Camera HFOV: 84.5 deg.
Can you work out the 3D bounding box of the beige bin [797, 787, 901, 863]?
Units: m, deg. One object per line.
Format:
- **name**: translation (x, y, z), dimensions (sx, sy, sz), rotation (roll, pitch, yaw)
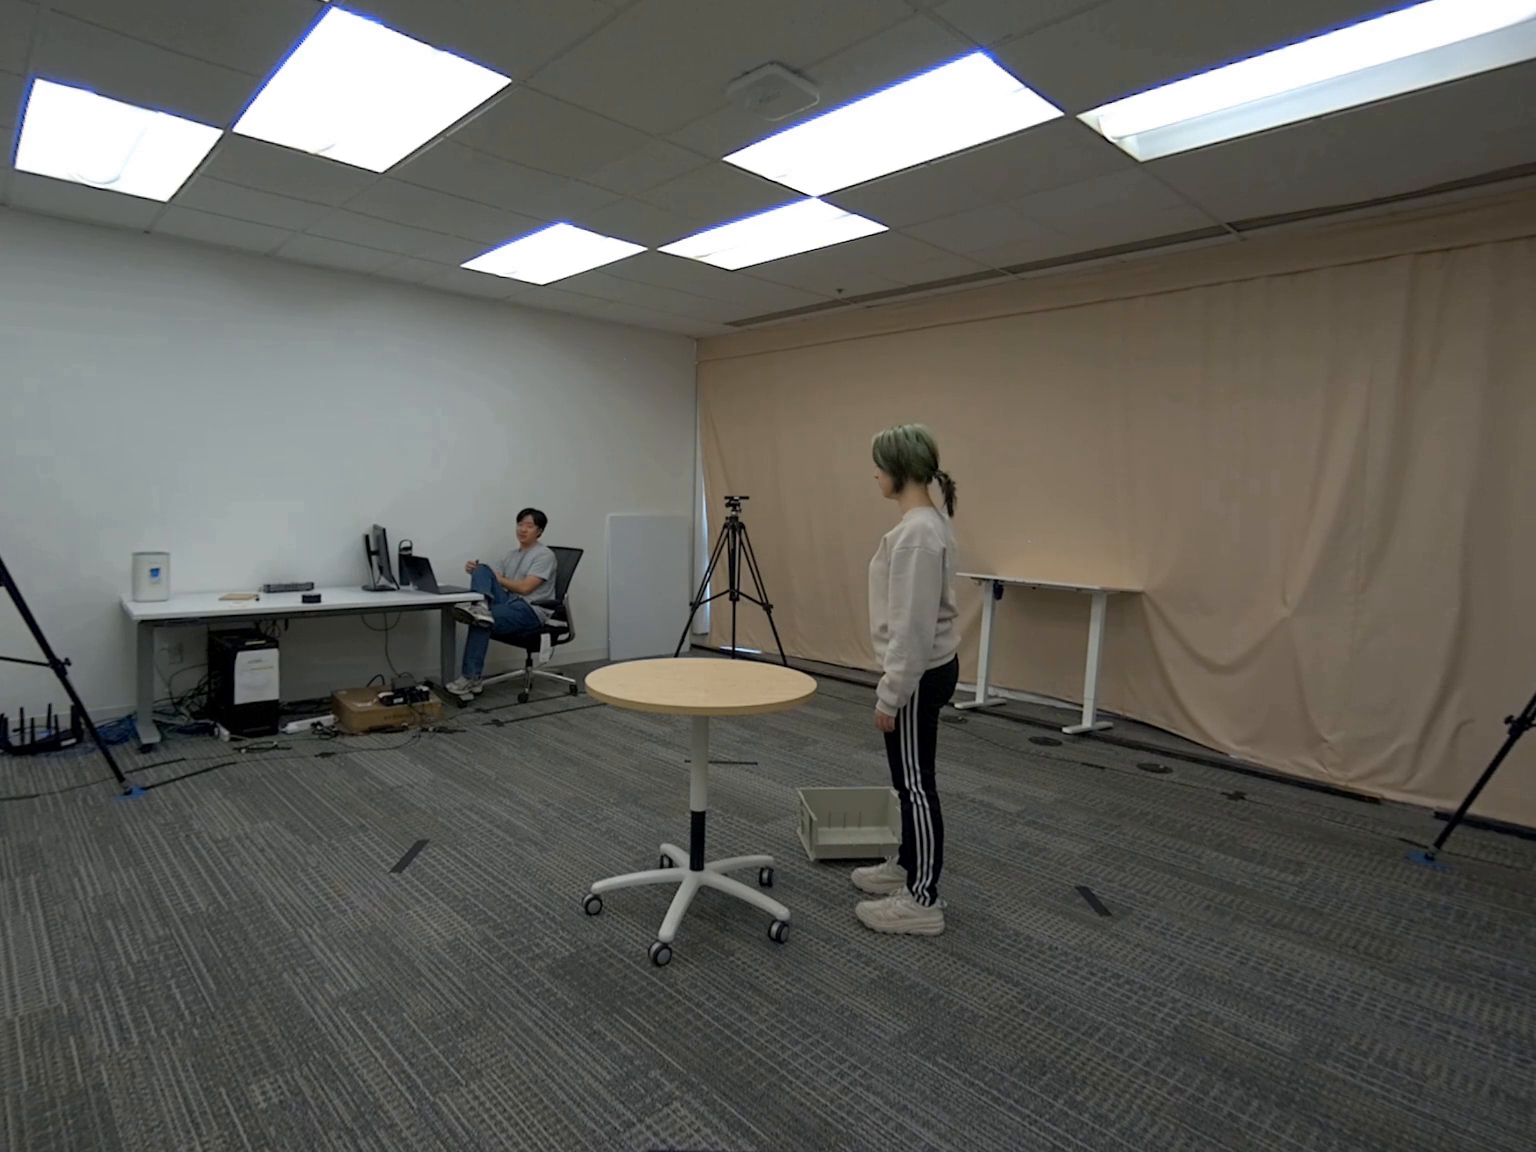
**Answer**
- **beige bin**: translation (0.346, 1.003, 3.384), dimensions (0.420, 0.188, 0.381), rotation (0, 4, -8)
